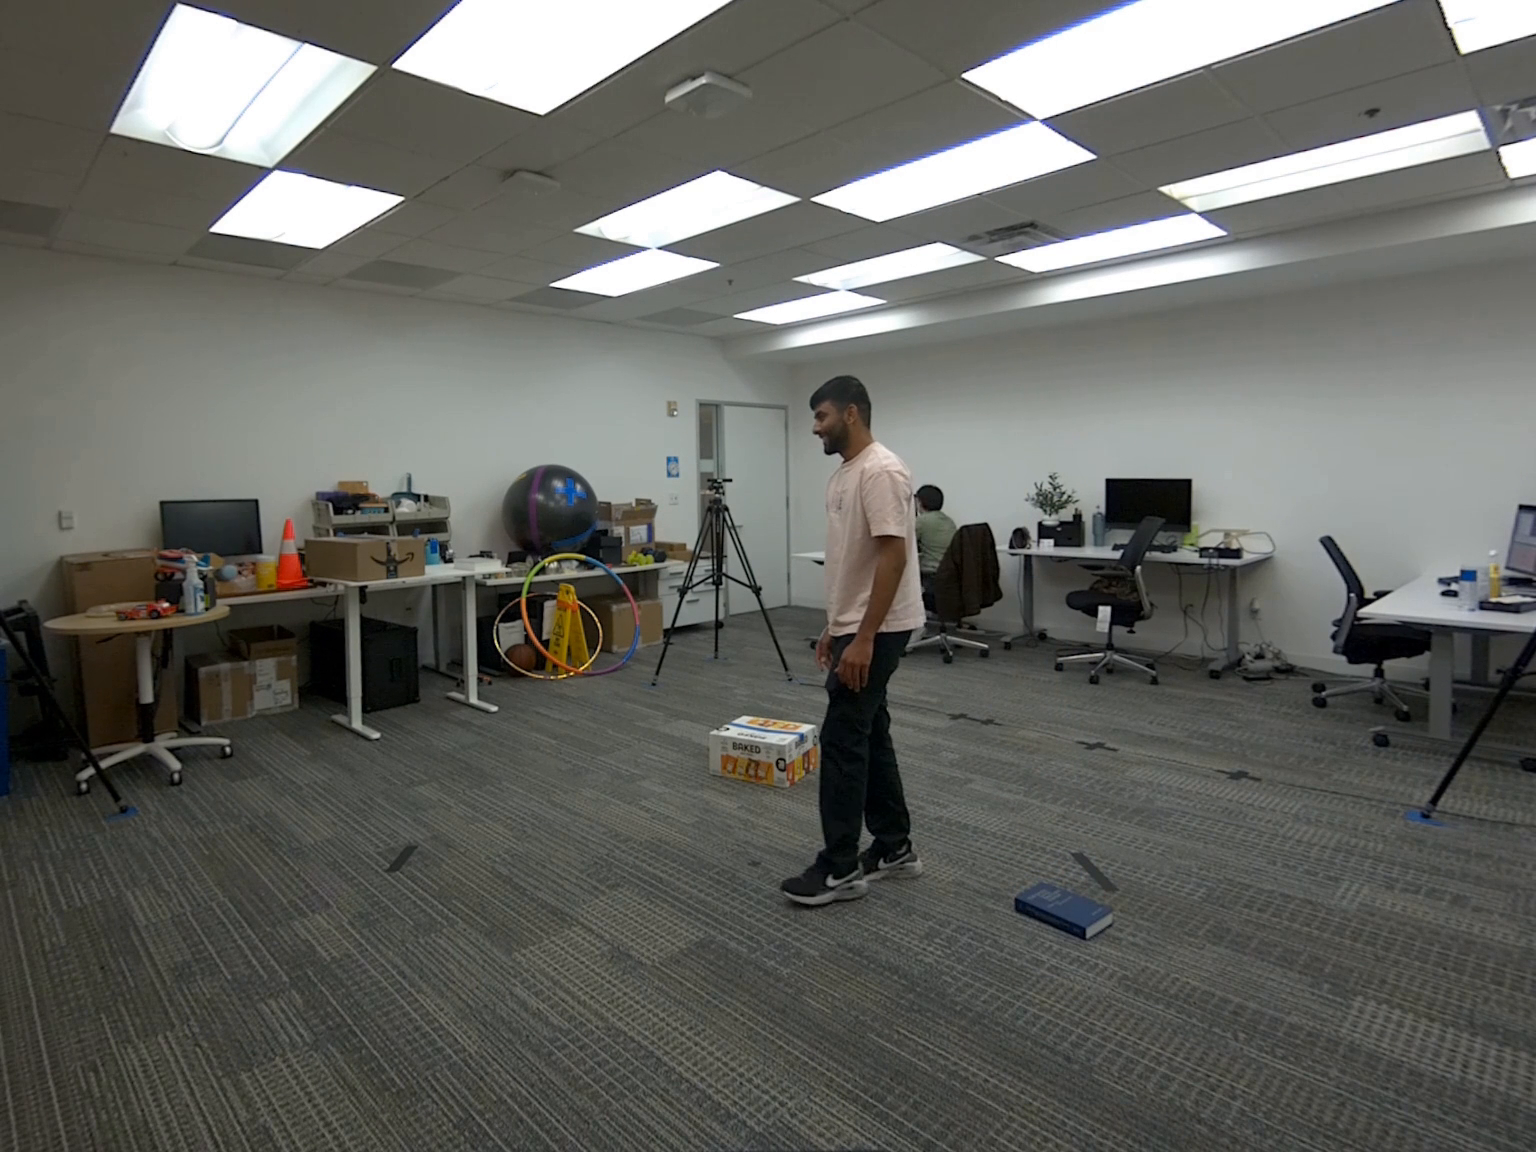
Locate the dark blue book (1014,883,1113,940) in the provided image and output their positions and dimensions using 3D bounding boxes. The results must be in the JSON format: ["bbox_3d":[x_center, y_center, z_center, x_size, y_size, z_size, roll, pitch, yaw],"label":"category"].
[{"bbox_3d":[0.934,1.056,2.690,0.159,0.045,0.252,-6,7,-37],"label":"dark blue book"}]
